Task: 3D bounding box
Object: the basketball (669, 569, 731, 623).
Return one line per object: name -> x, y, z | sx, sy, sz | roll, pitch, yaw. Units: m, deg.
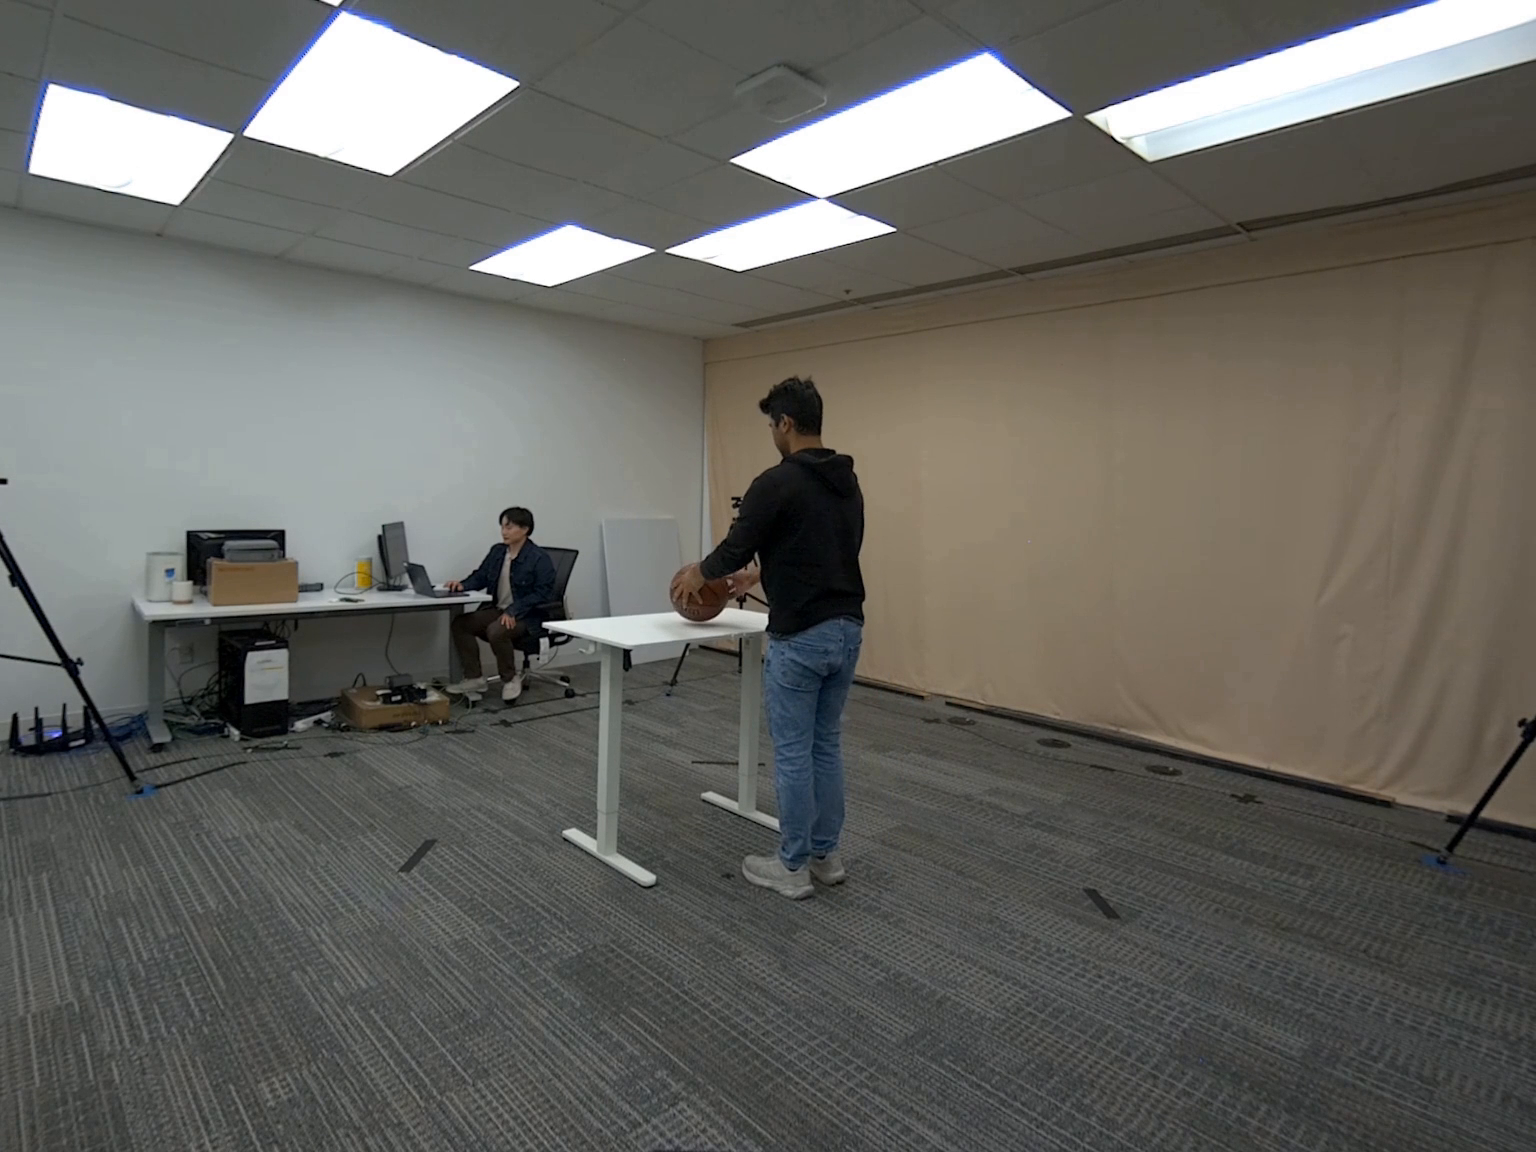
basketball -> -0.266, 0.061, 3.369 | 0.236, 0.235, 0.237 | 1, 4, -1
